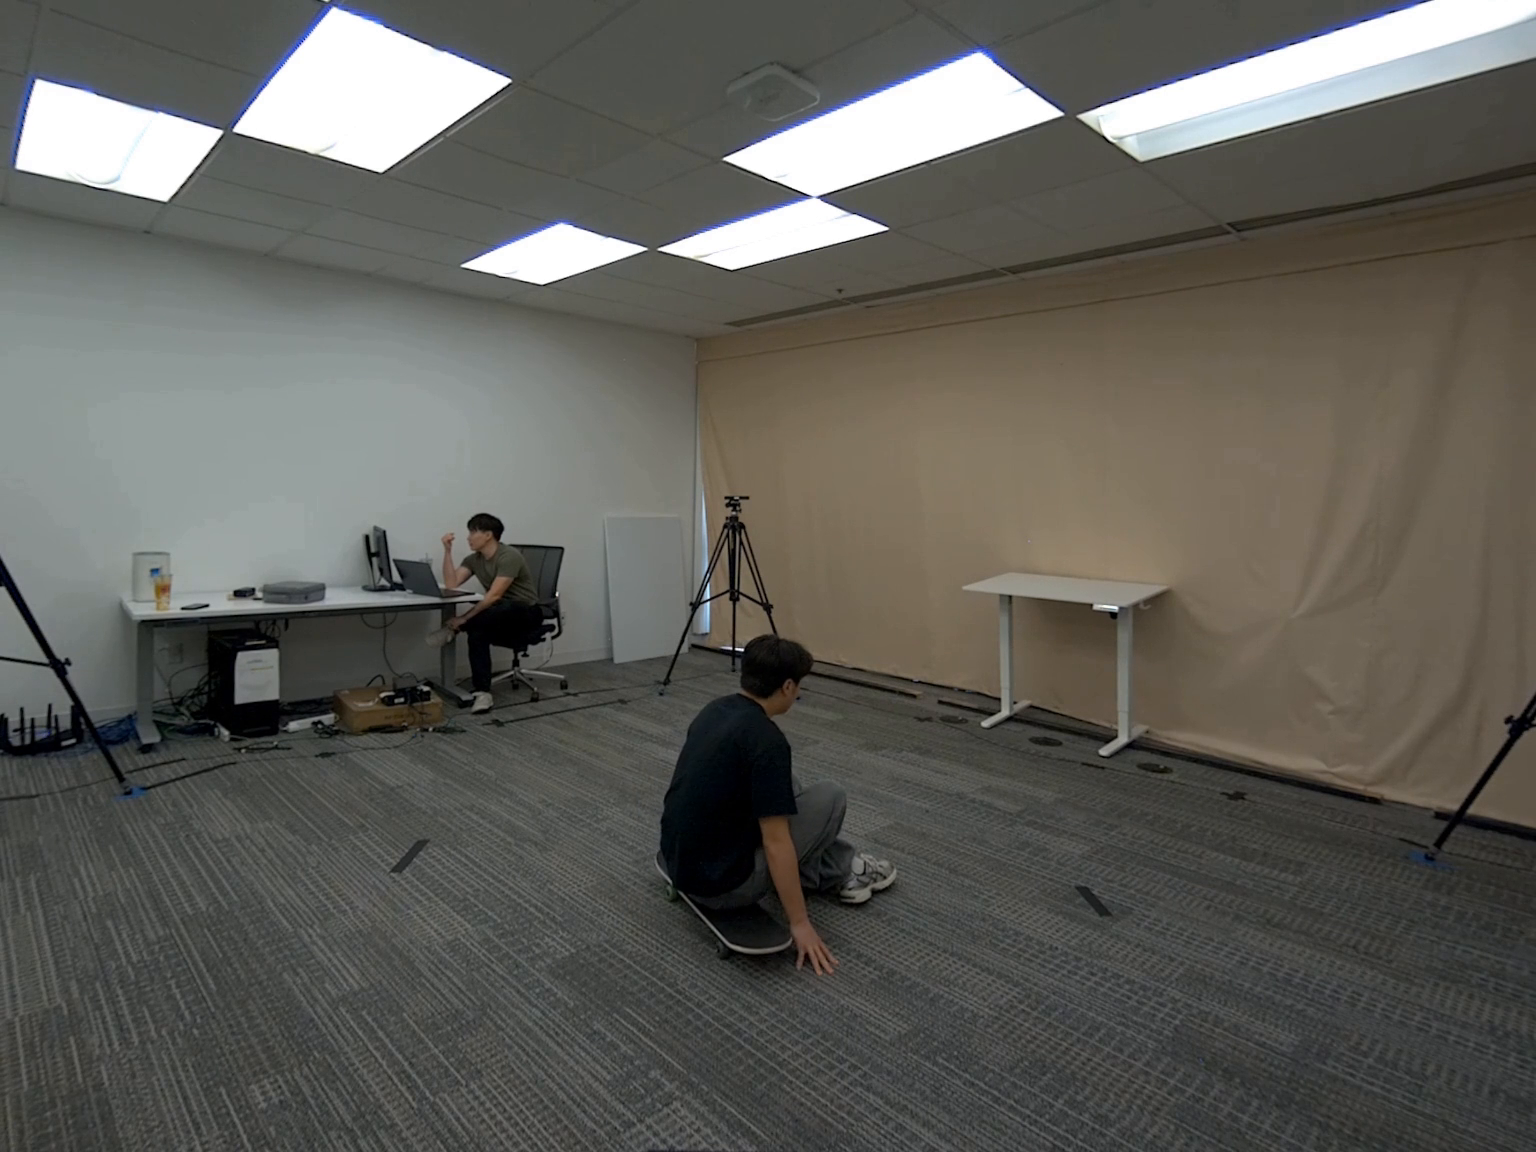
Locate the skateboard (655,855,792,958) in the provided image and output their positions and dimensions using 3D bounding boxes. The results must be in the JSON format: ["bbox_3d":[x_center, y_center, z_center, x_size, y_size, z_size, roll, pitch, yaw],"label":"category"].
[{"bbox_3d":[-0.170,1.079,2.768,0.190,0.110,0.803,-5,7,-28],"label":"skateboard"}]
